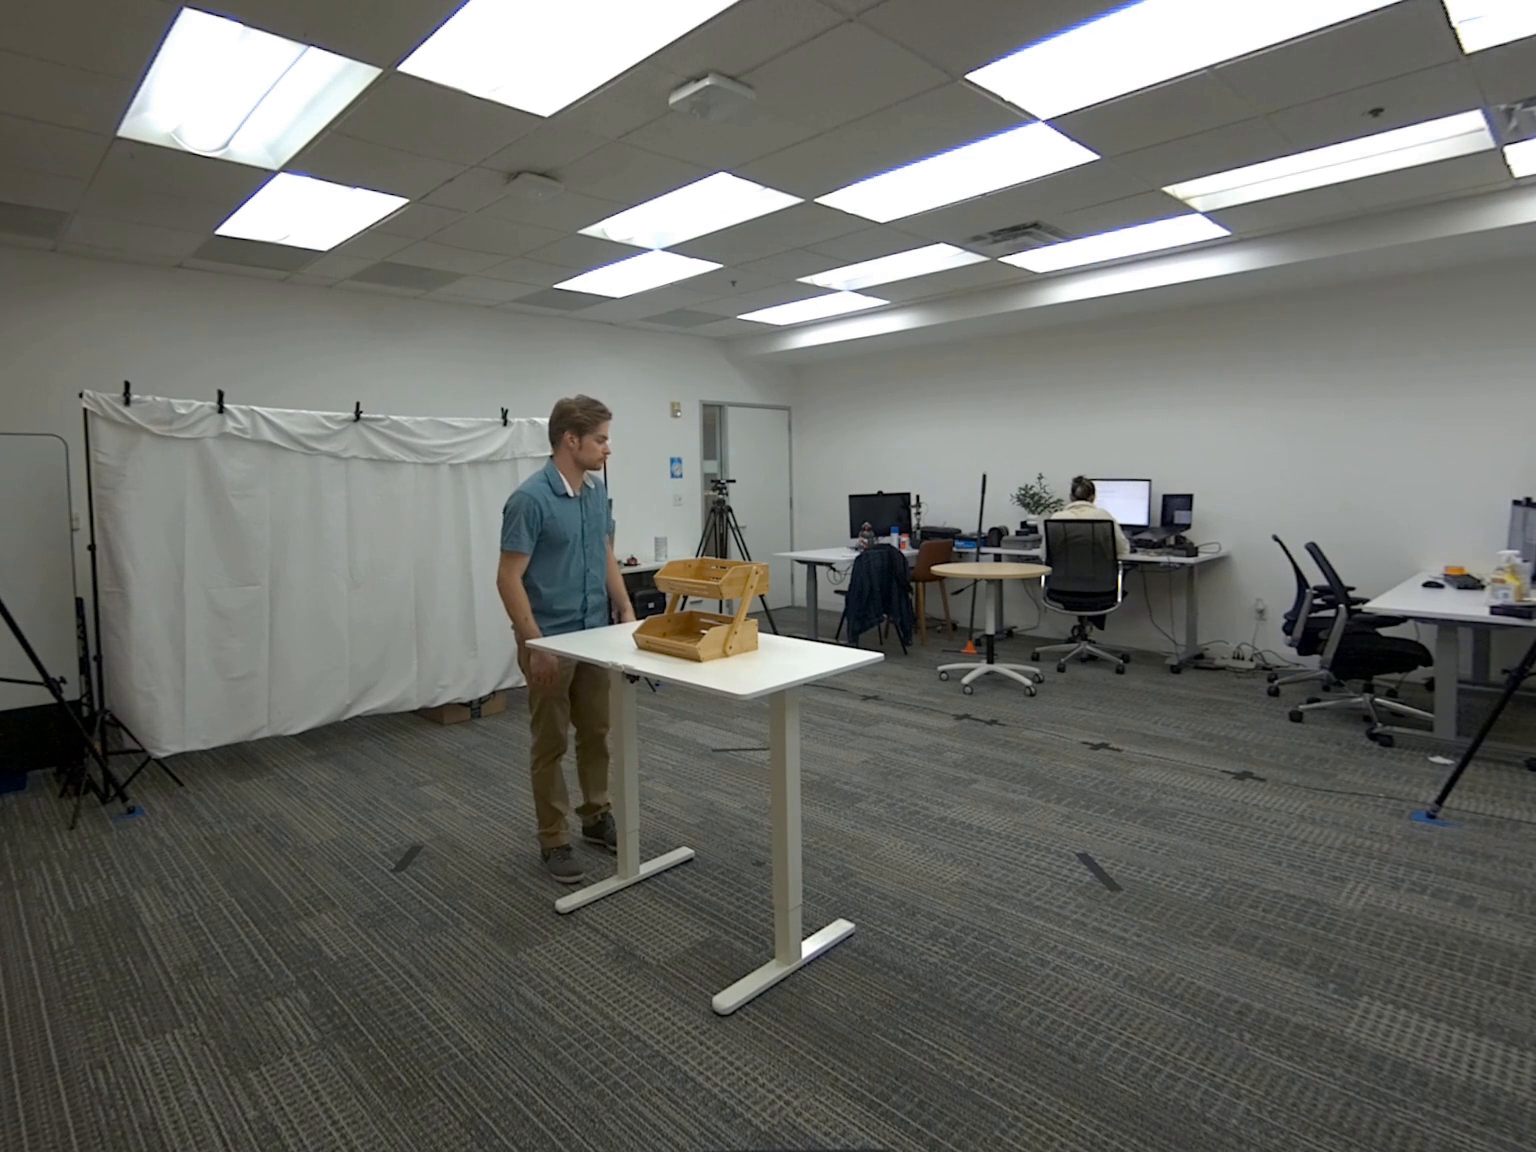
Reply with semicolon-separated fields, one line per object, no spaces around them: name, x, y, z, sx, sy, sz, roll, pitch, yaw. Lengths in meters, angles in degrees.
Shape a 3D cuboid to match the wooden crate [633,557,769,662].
wooden crate;-0.209;0.093;2.620;0.294;0.272;0.335;-6;8;-44
